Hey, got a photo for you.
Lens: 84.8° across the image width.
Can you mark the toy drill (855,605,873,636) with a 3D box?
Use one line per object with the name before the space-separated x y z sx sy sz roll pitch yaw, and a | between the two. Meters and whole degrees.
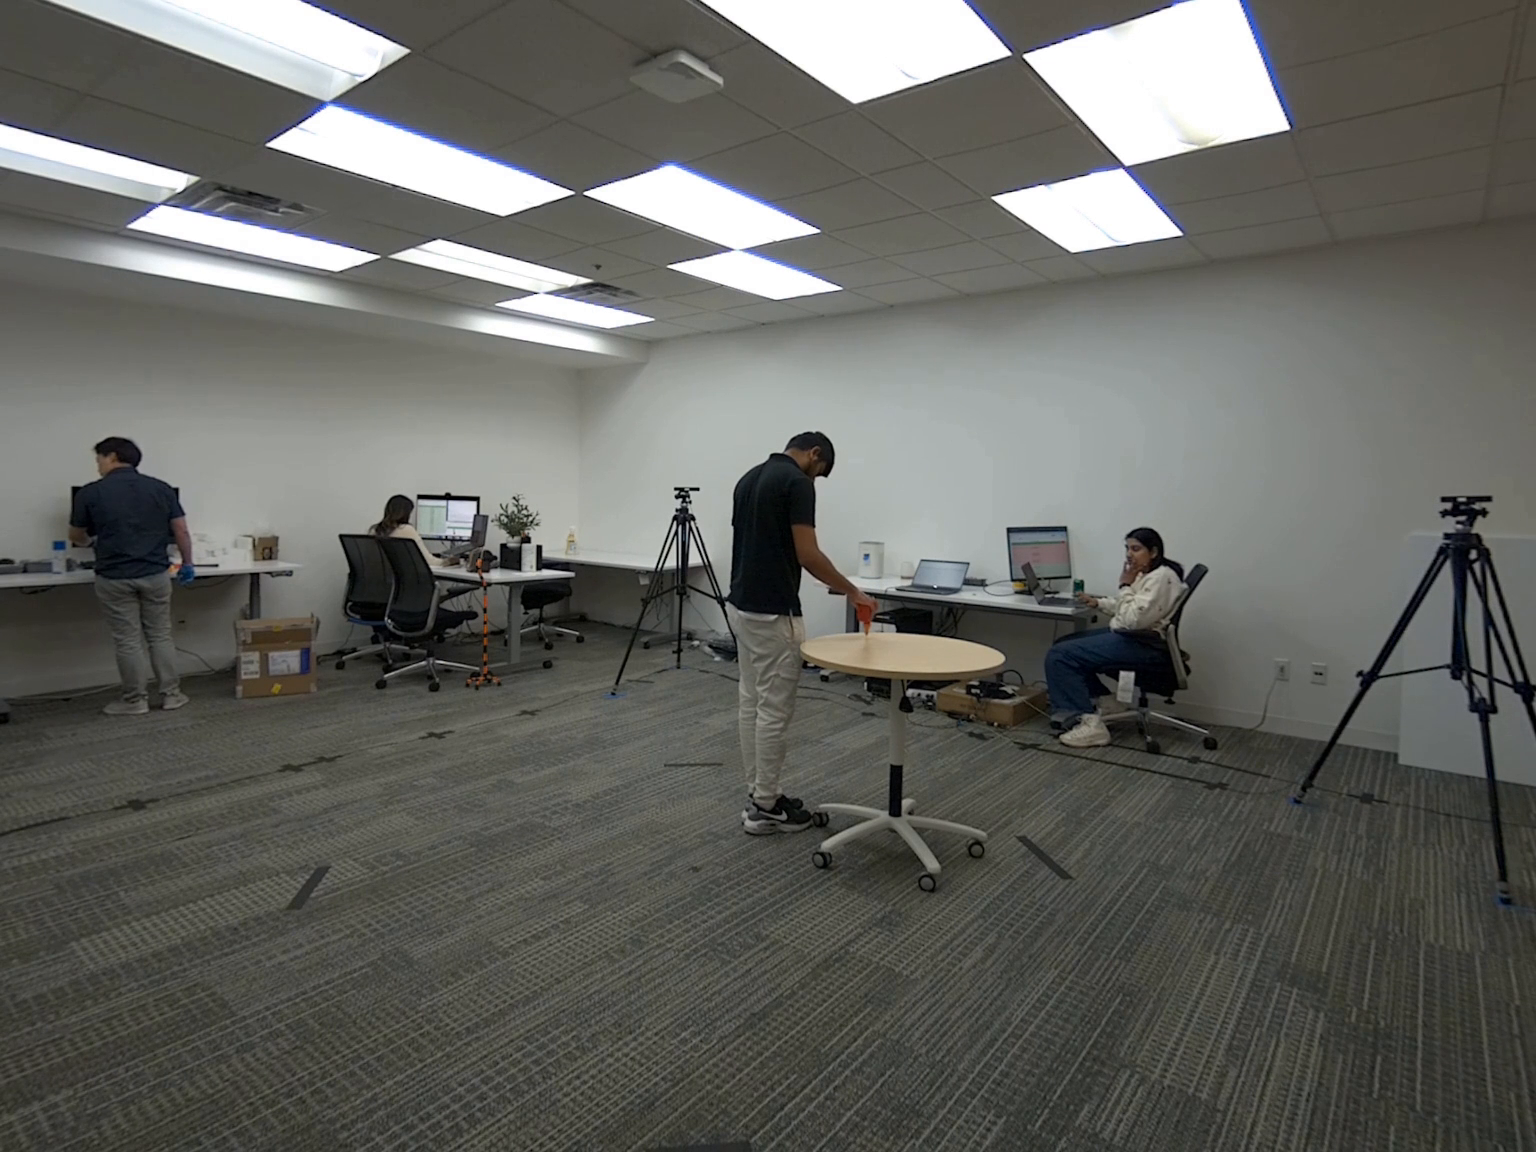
toy drill | 0.393 0.169 3.475 0.062 0.168 0.145 3 12 14
